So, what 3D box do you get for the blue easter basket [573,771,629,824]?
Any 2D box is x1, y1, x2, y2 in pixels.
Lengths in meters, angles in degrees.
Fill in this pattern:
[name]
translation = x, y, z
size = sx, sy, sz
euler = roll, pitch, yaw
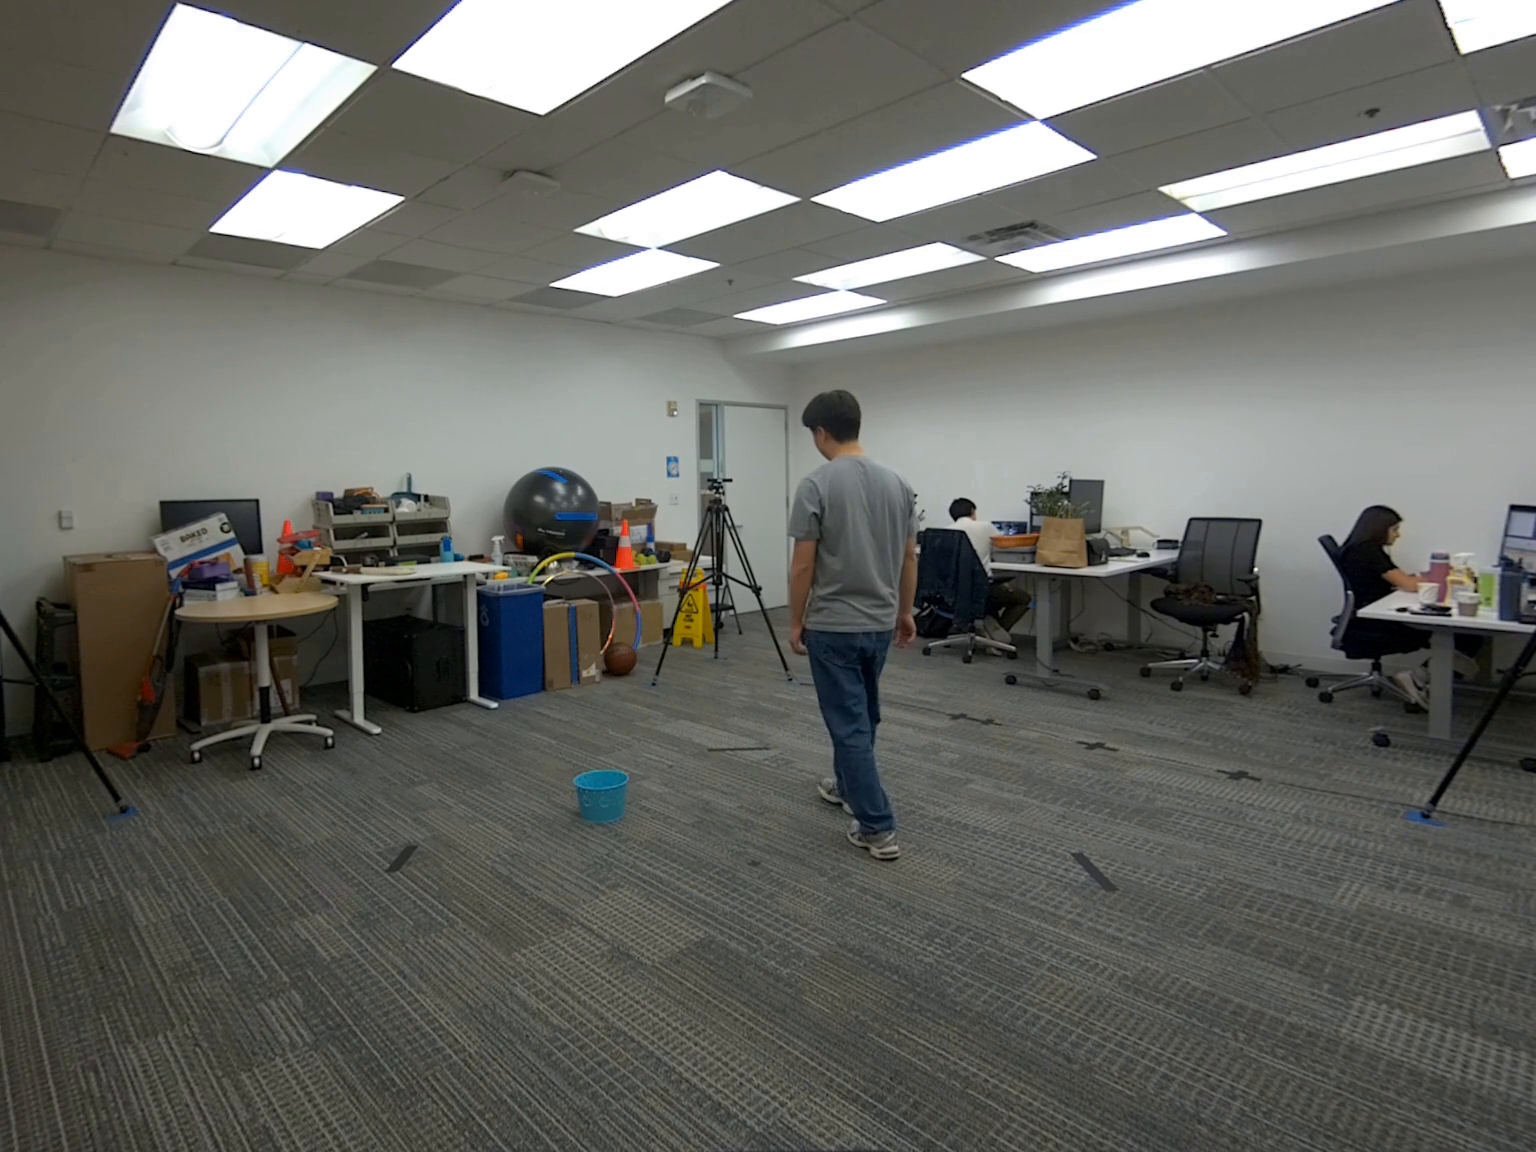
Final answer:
[blue easter basket]
translation = -0.693, 0.922, 3.592
size = 0.243, 0.155, 0.245
euler = -1, 6, -2
